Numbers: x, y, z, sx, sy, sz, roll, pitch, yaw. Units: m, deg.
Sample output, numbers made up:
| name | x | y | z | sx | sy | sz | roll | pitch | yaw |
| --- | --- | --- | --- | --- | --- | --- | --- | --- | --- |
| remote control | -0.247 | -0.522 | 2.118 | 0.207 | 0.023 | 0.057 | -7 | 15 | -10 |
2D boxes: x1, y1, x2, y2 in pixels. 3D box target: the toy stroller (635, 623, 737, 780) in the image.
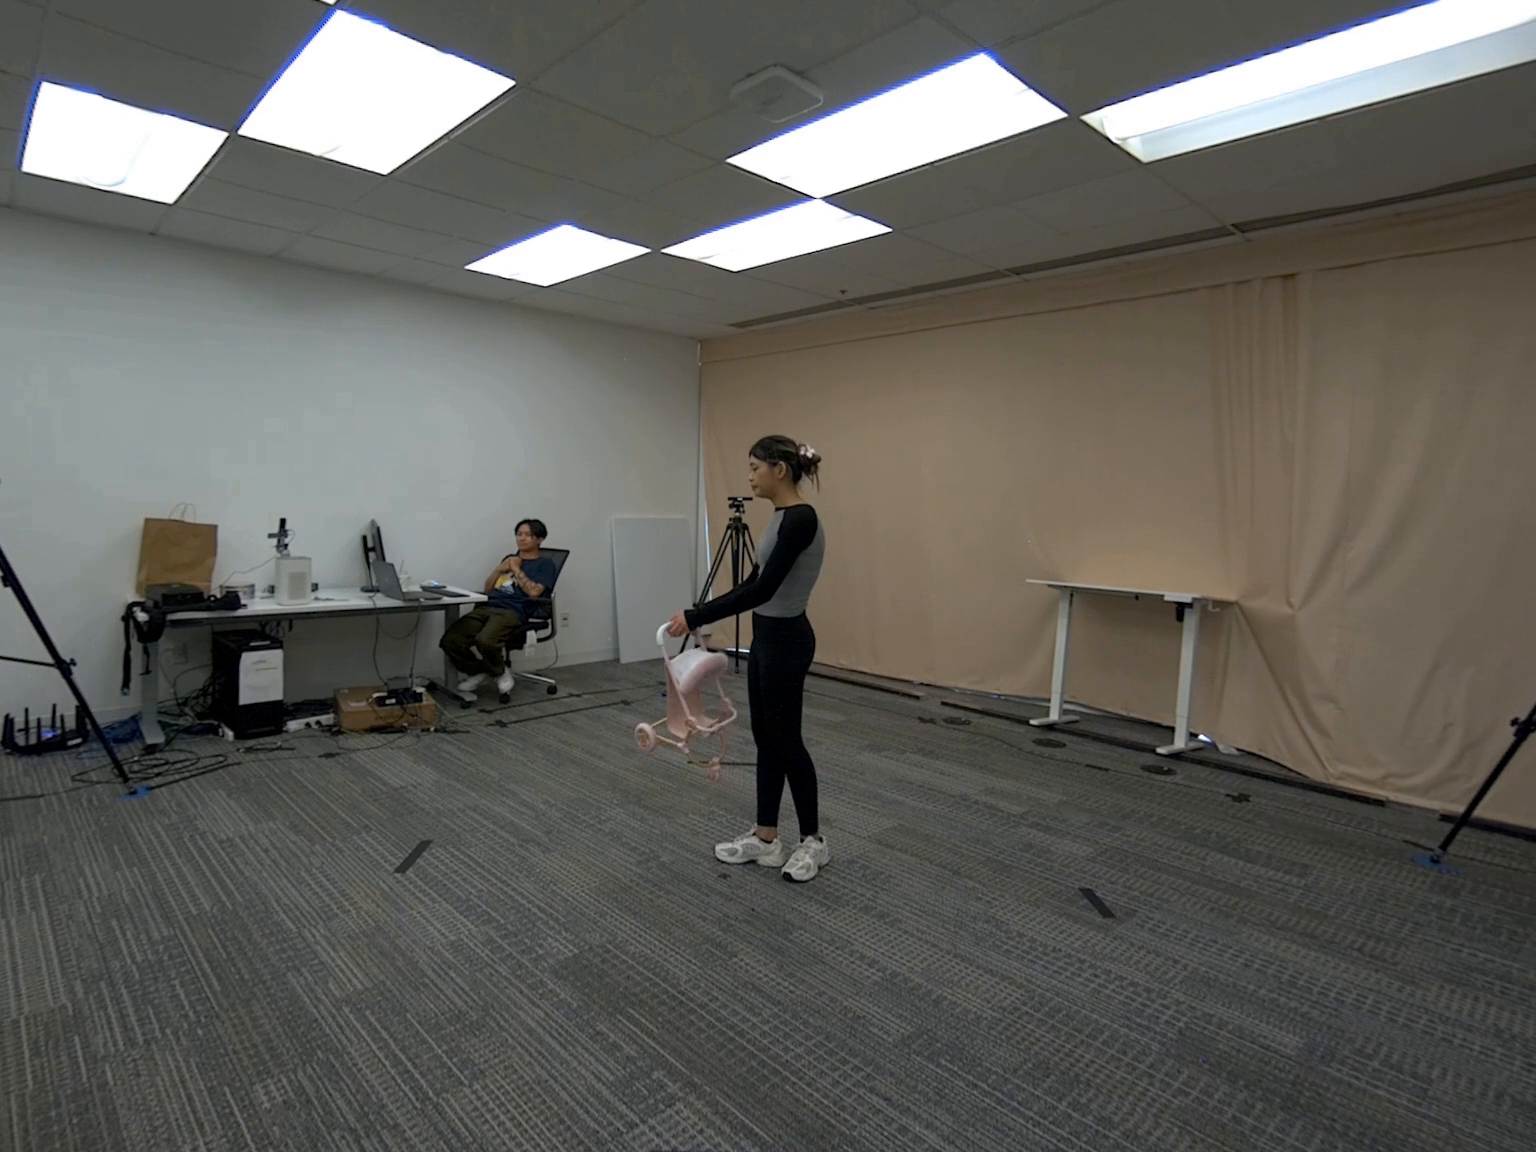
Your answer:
| name | x | y | z | sx | sy | sz | roll | pitch | yaw |
| --- | --- | --- | --- | --- | --- | --- | --- | --- | --- |
| toy stroller | -0.278 | 0.473 | 3.082 | 0.351 | 0.528 | 0.276 | 26 | 27 | 37 |
